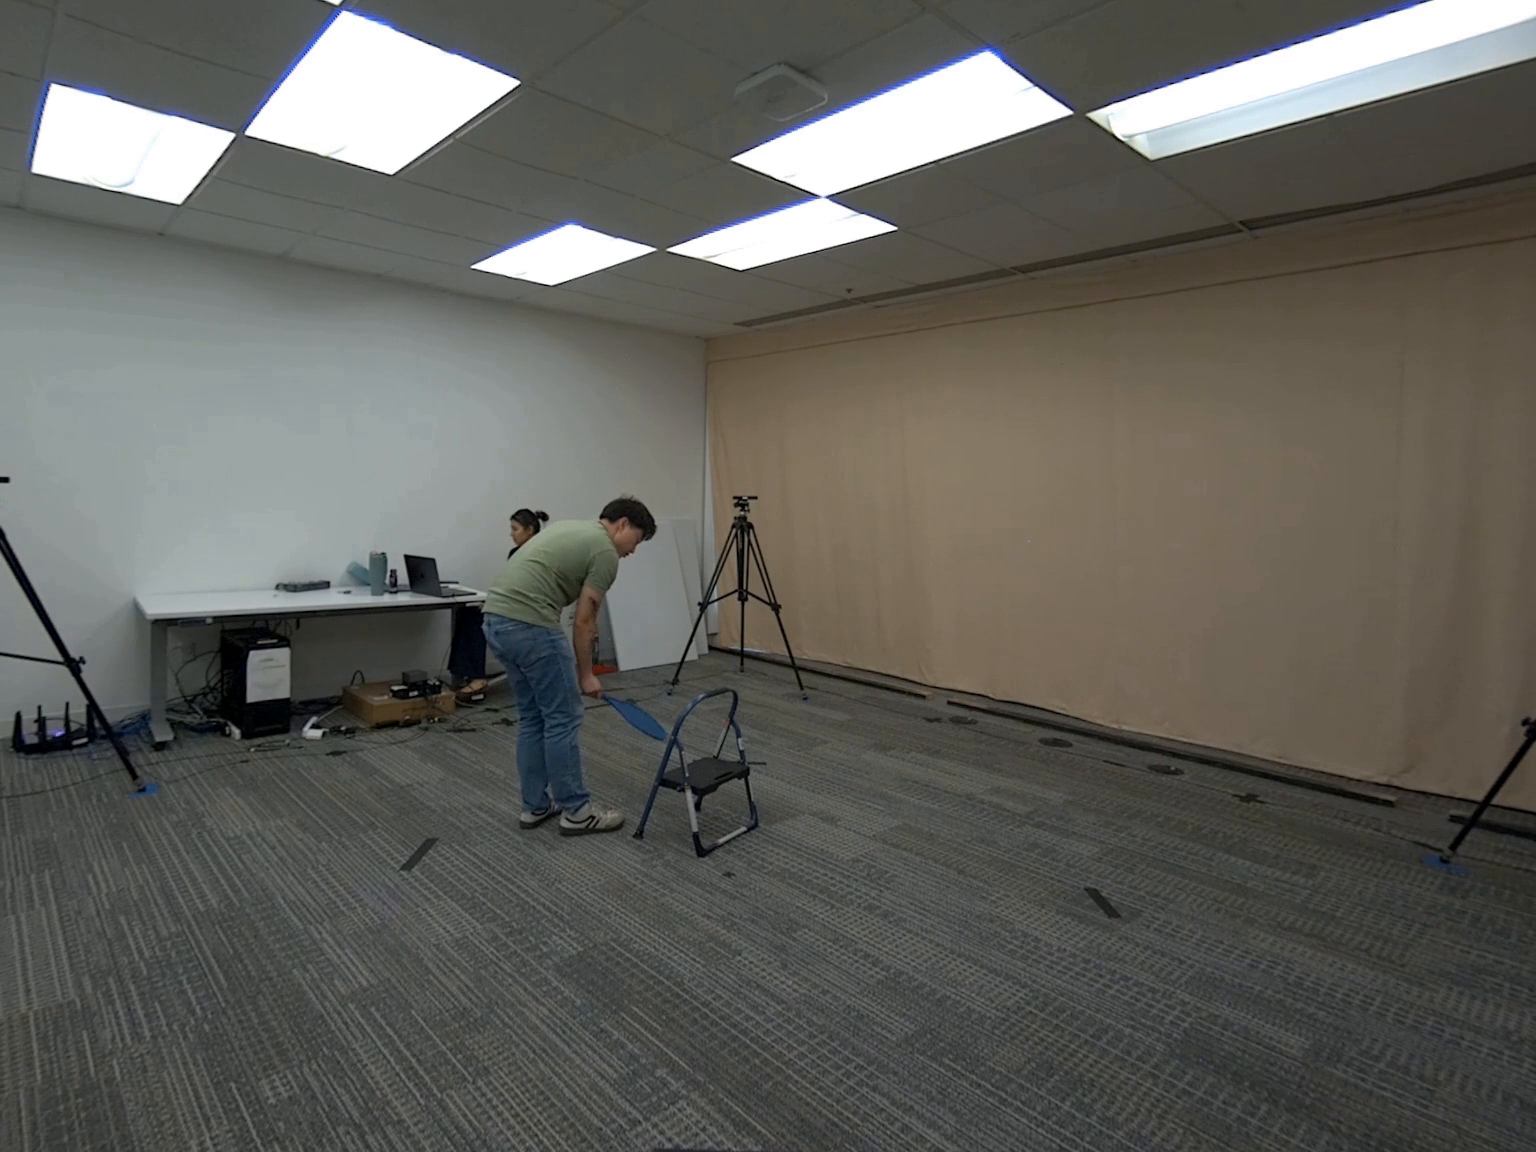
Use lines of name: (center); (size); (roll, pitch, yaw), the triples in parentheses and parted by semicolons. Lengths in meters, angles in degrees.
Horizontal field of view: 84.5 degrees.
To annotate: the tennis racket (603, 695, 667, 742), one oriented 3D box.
tennis racket: (-0.597, 0.590, 3.646); (0.425, 0.032, 0.218); (31, 9, -17)
